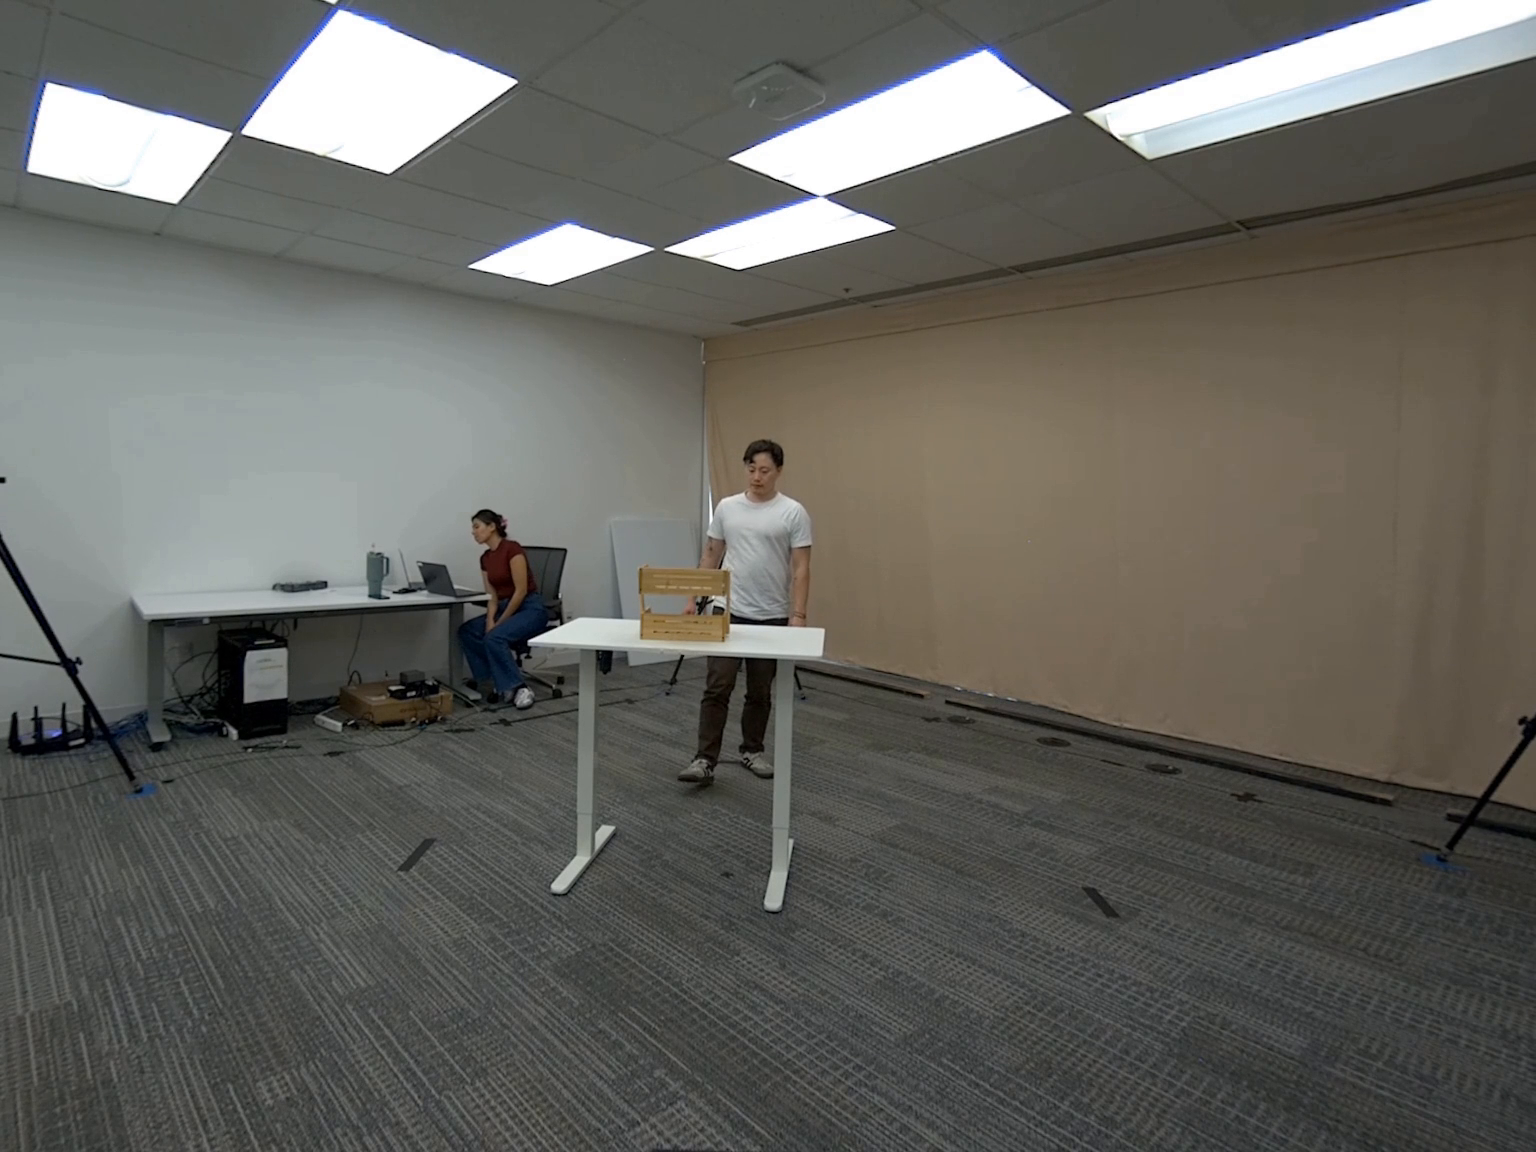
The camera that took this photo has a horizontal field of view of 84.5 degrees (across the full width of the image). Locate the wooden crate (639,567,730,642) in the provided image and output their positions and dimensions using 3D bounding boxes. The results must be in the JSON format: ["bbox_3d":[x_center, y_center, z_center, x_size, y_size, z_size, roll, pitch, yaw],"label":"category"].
[{"bbox_3d":[-0.313,0.093,3.067,0.325,0.272,0.302,1,4,1],"label":"wooden crate"}]
